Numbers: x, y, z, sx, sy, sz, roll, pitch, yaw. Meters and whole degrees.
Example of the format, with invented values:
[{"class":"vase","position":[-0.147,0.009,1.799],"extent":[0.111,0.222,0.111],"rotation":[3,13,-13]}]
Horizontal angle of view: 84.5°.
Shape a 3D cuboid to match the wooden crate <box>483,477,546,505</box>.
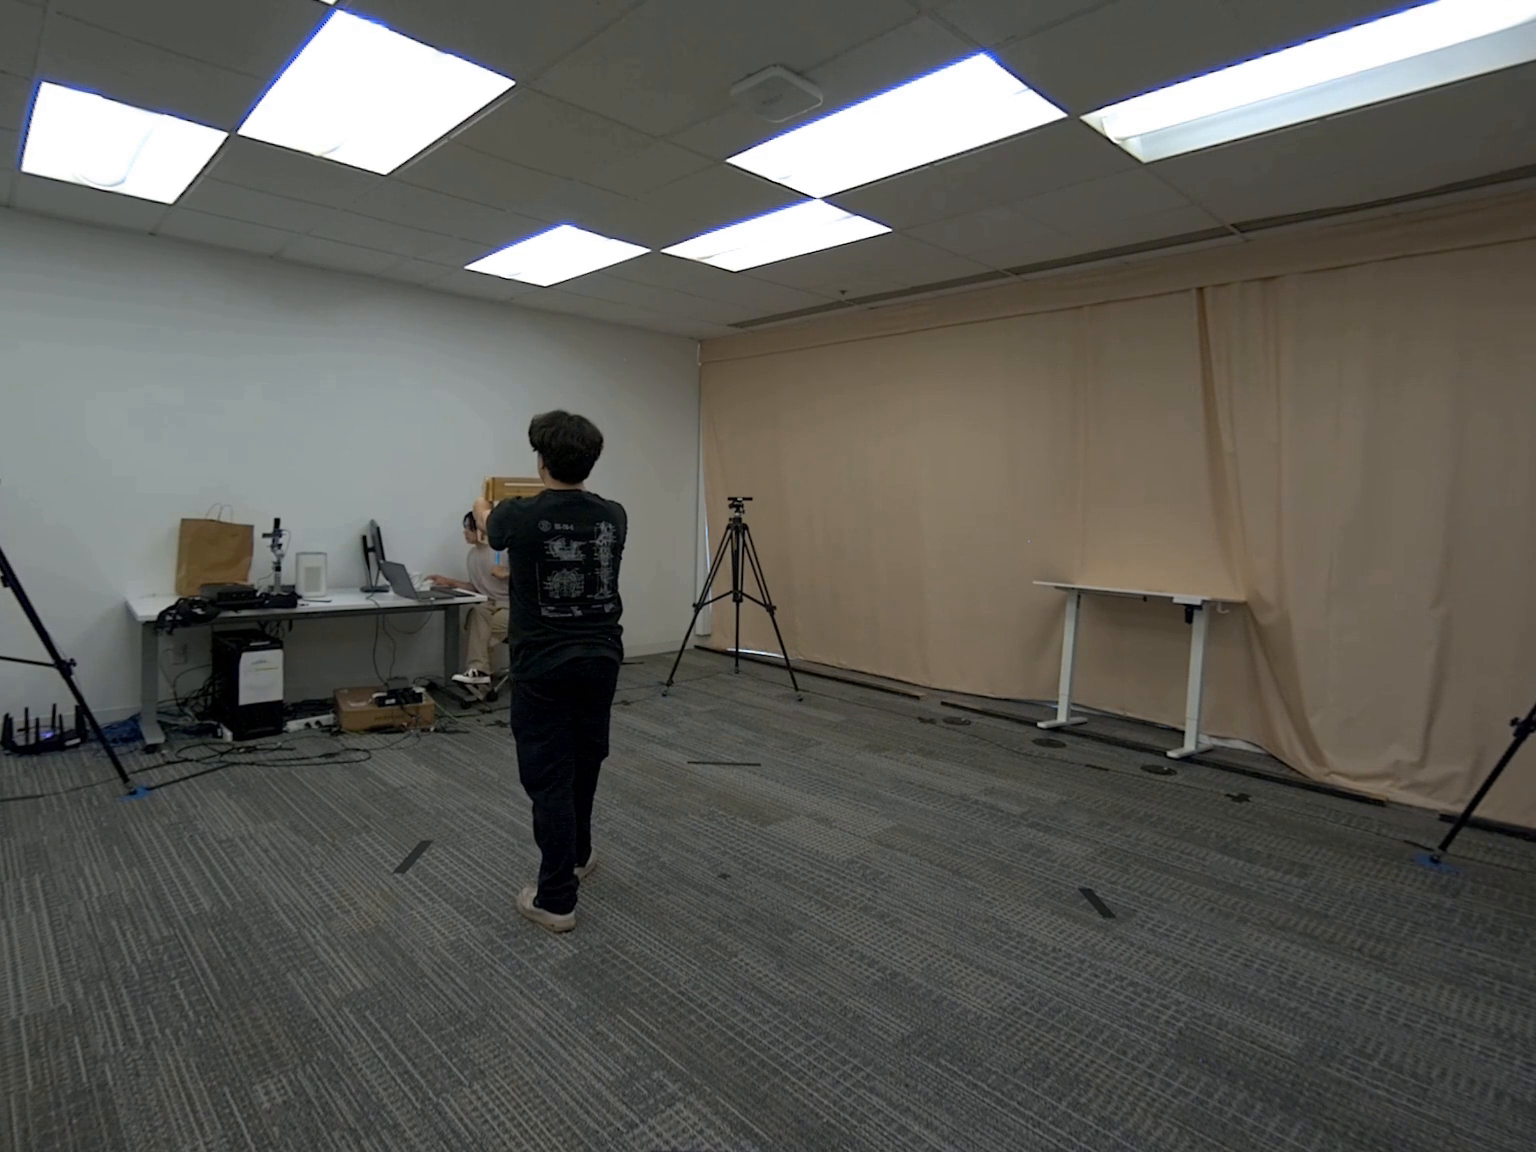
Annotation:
[{"class":"wooden crate","position":[-0.983,-0.268,3.356],"extent":[0.318,0.272,0.309],"rotation":[-2,7,-29]}]
